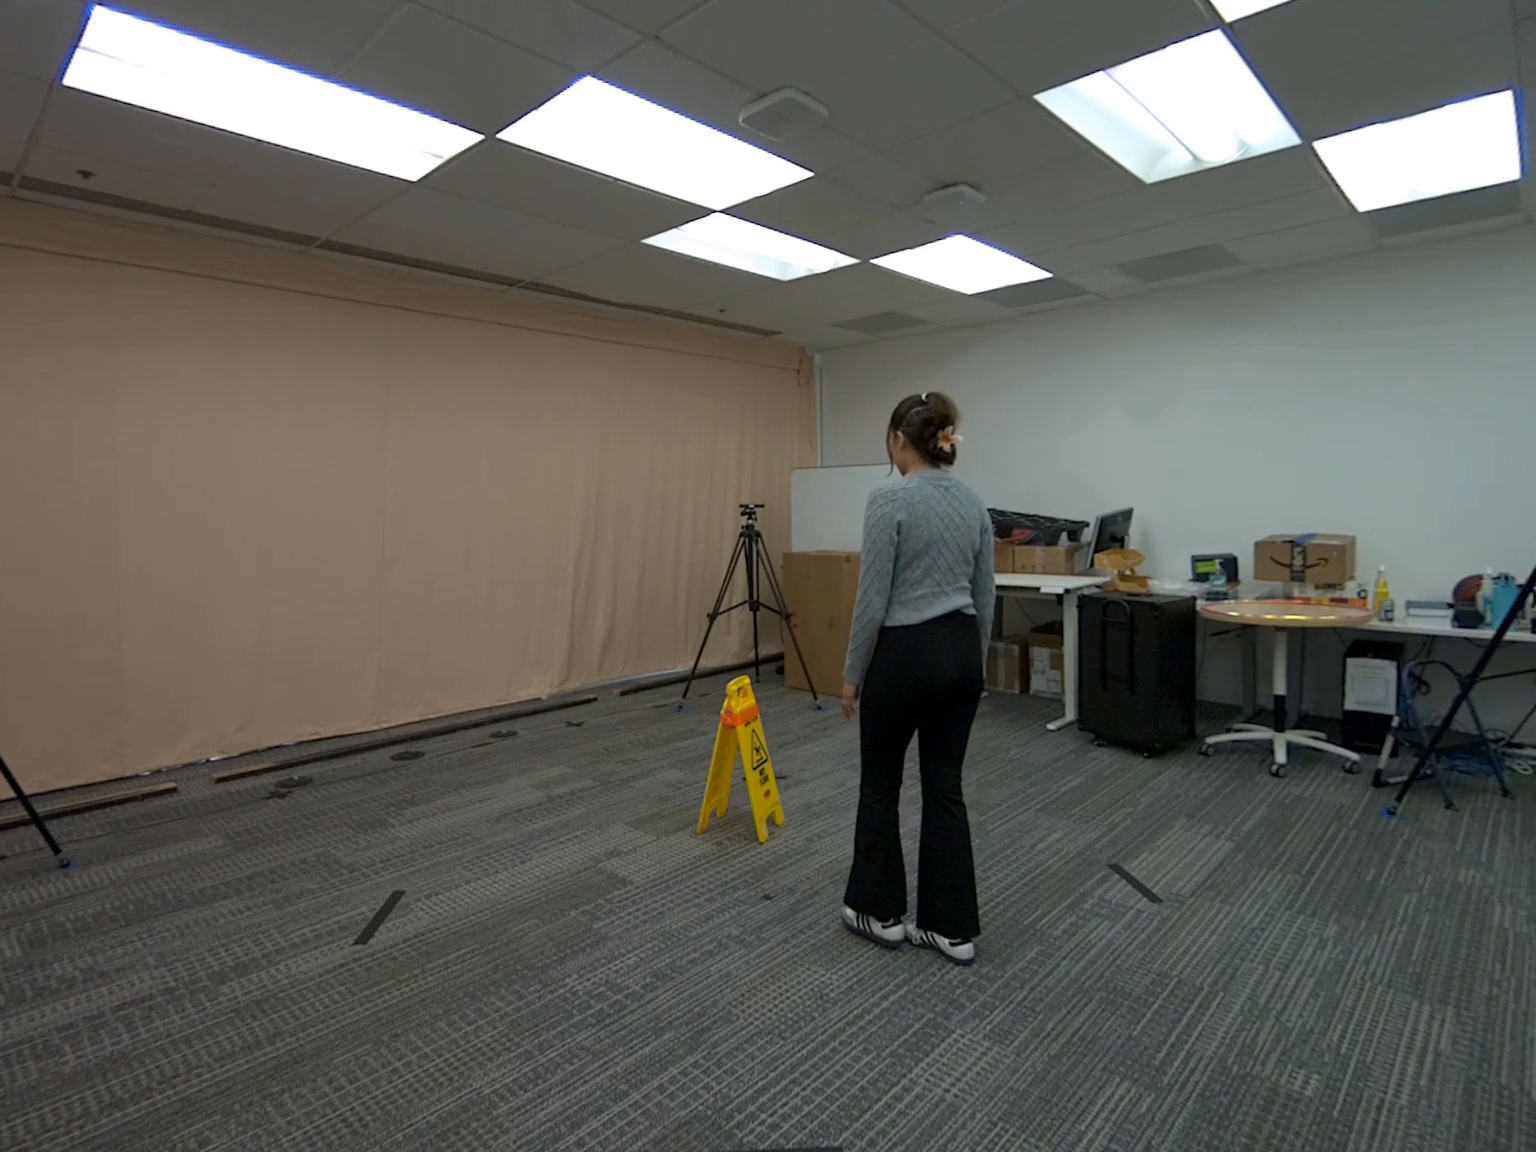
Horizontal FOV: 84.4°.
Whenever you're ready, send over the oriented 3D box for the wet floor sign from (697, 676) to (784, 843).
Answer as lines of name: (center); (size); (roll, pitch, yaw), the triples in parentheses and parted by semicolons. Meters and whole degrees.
wet floor sign: (-0.123, 0.764, 3.627); (0.296, 0.645, 0.276); (0, 2, 22)
